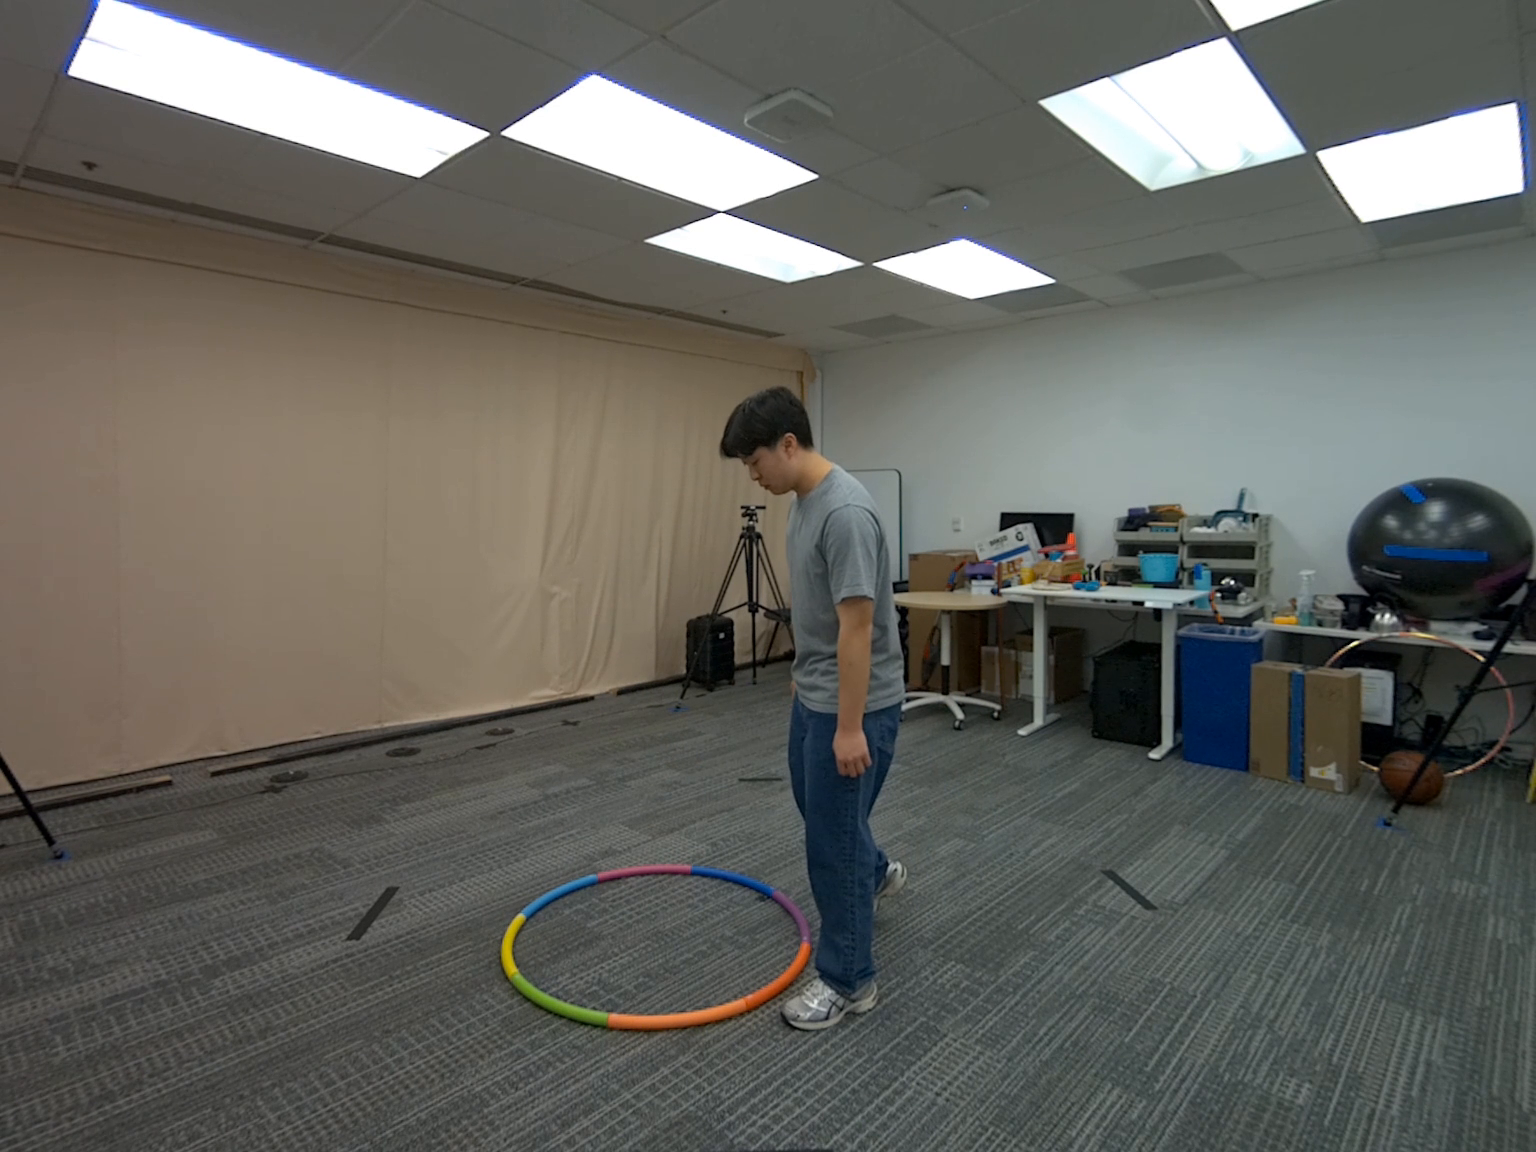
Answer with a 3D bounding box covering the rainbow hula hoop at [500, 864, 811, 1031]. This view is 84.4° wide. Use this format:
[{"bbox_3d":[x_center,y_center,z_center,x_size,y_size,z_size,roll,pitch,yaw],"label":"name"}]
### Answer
[{"bbox_3d":[-0.353,1.141,2.723,0.978,0.035,0.982,-1,5,-2],"label":"rainbow hula hoop"}]
